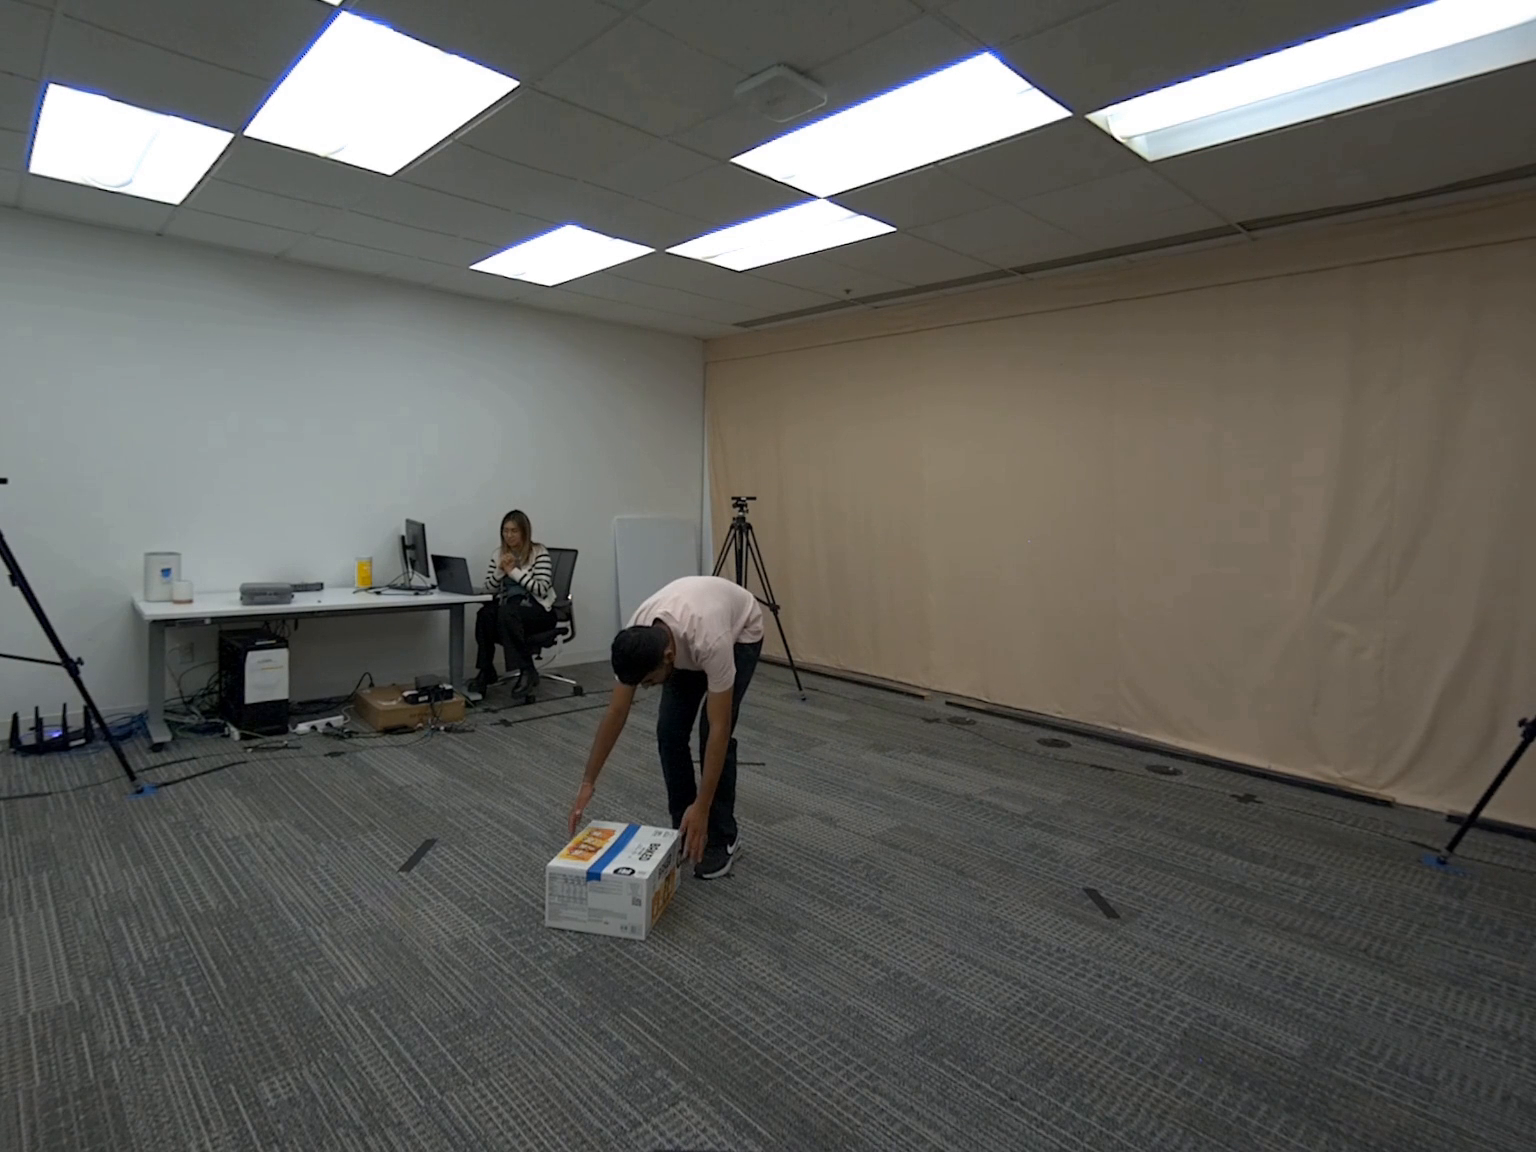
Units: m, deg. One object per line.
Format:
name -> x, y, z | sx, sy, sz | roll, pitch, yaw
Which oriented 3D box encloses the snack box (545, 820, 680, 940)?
snack box -> -0.522, 1.022, 2.848 | 0.343, 0.205, 0.402 | 2, 5, 11
